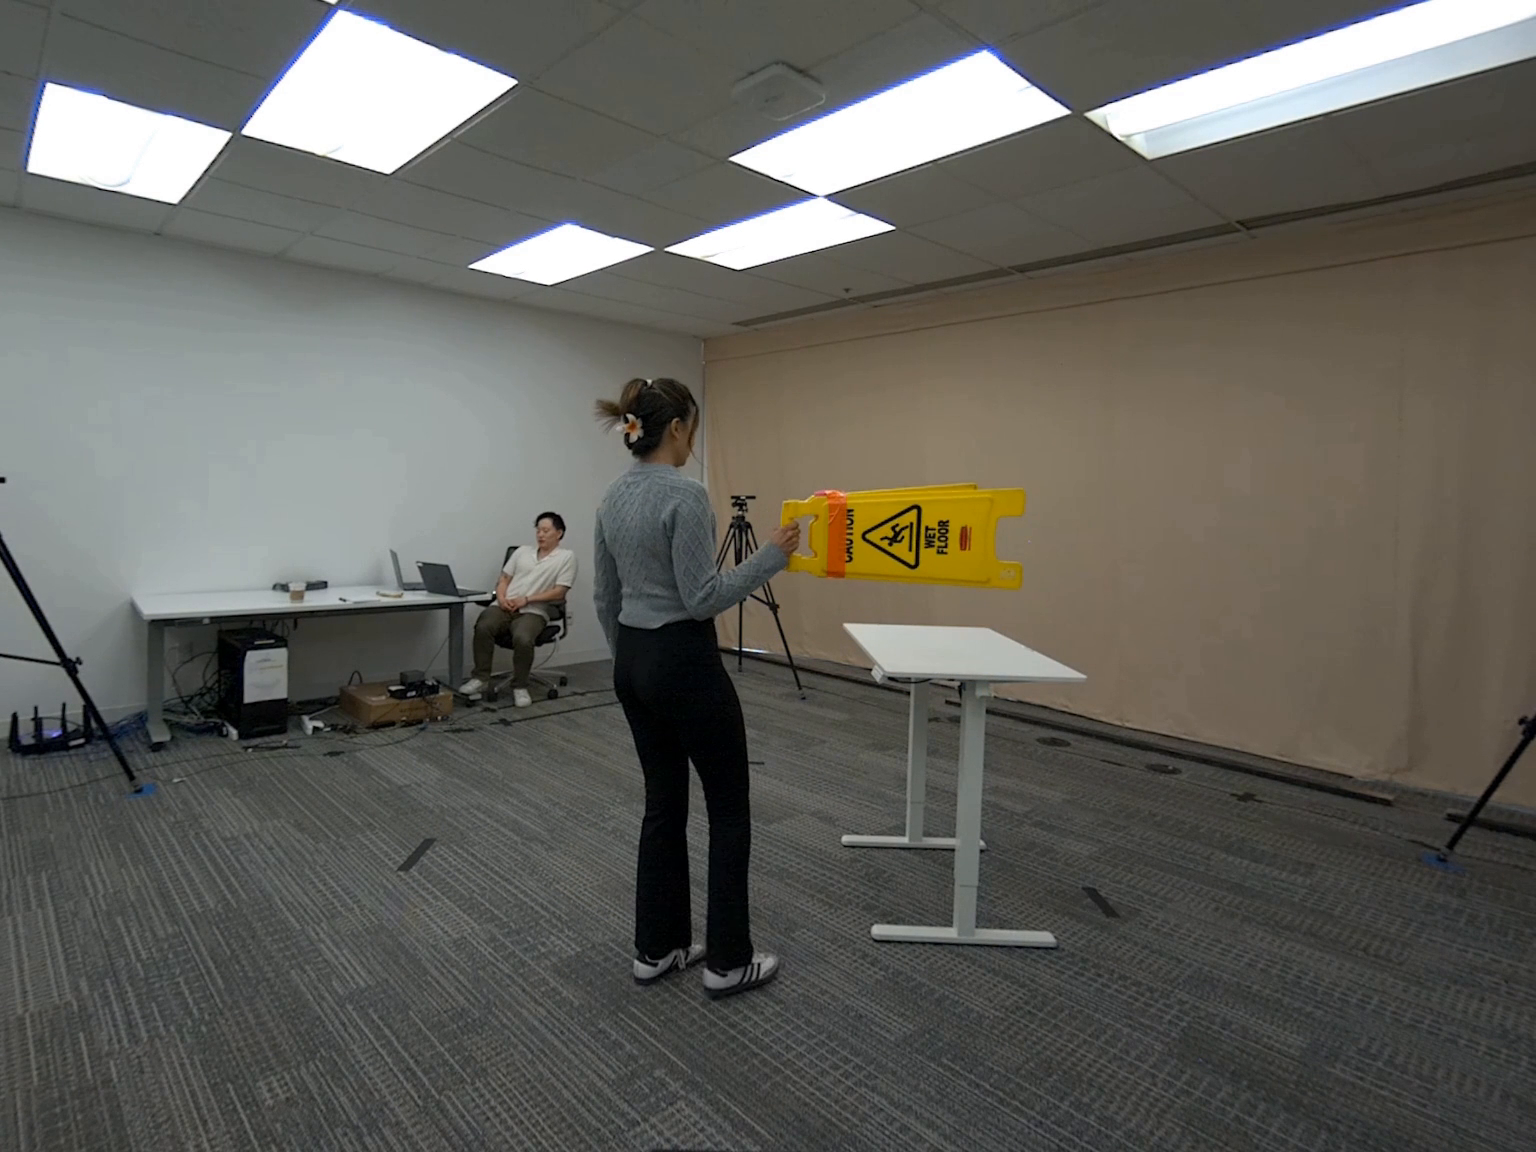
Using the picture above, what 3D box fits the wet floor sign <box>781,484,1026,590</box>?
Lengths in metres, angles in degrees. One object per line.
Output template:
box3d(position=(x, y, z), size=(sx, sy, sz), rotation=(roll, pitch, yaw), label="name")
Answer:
box3d(position=(0.344, -0.112, 2.378), size=(0.641, 0.281, 0.294), rotation=(-1, 8, -10), label="wet floor sign")
